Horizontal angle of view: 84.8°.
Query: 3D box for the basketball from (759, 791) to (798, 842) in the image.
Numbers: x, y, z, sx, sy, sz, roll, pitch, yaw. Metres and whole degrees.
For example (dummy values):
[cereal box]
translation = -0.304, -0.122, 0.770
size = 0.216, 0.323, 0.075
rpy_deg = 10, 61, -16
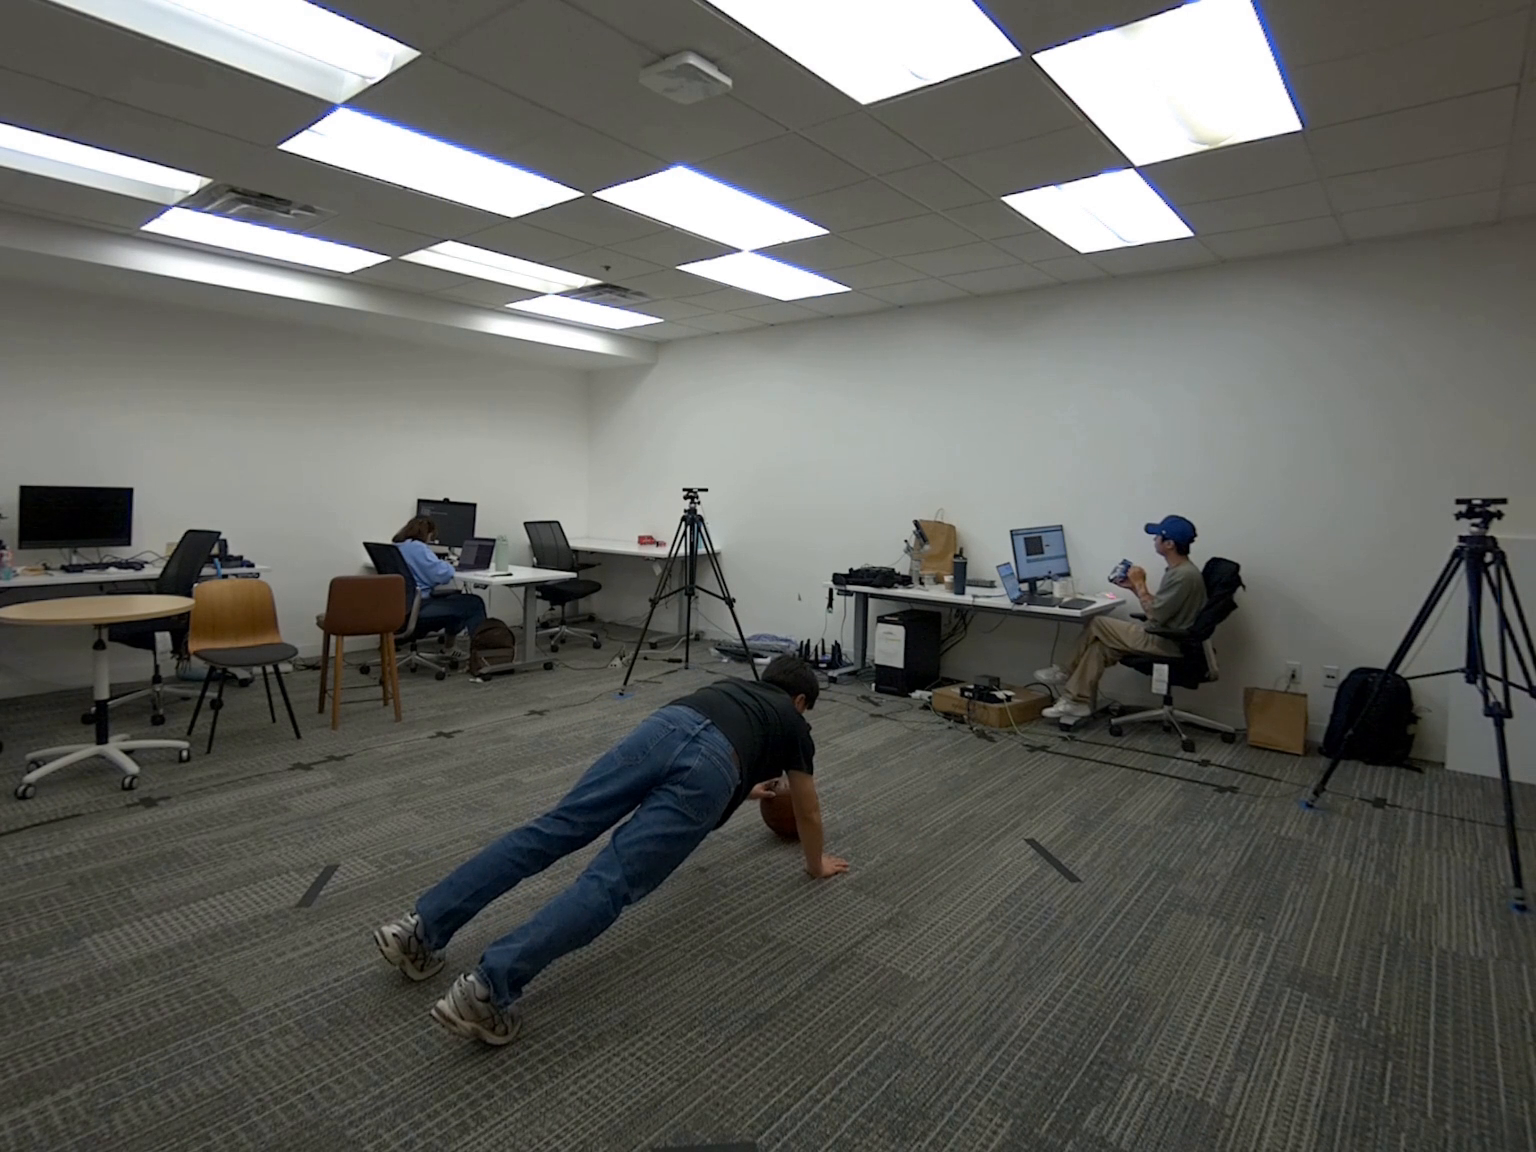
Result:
[basketball]
translation = 0.075, 0.918, 3.445
size = 0.235, 0.235, 0.237
rpy_deg = 1, 4, -2
